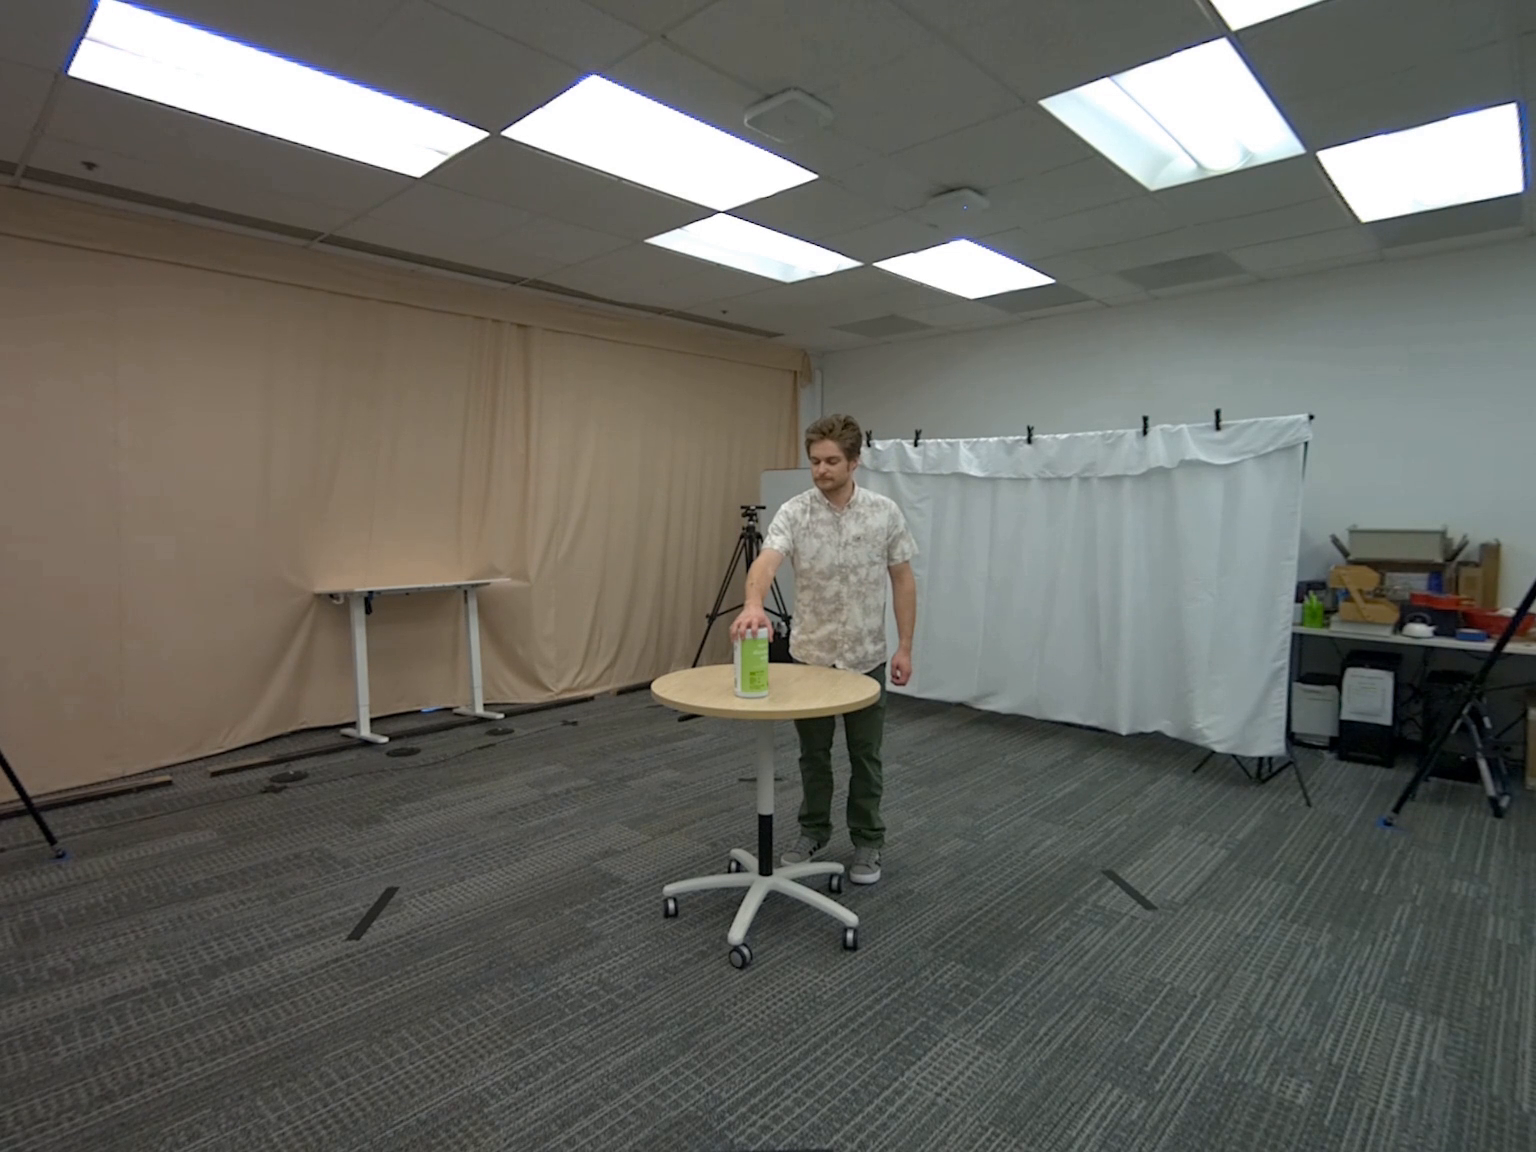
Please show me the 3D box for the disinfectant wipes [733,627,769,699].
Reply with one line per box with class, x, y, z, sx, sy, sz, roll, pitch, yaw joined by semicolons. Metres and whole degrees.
disinfectant wipes;-0.055;0.269;2.662;0.118;0.217;0.118;0;1;-2
